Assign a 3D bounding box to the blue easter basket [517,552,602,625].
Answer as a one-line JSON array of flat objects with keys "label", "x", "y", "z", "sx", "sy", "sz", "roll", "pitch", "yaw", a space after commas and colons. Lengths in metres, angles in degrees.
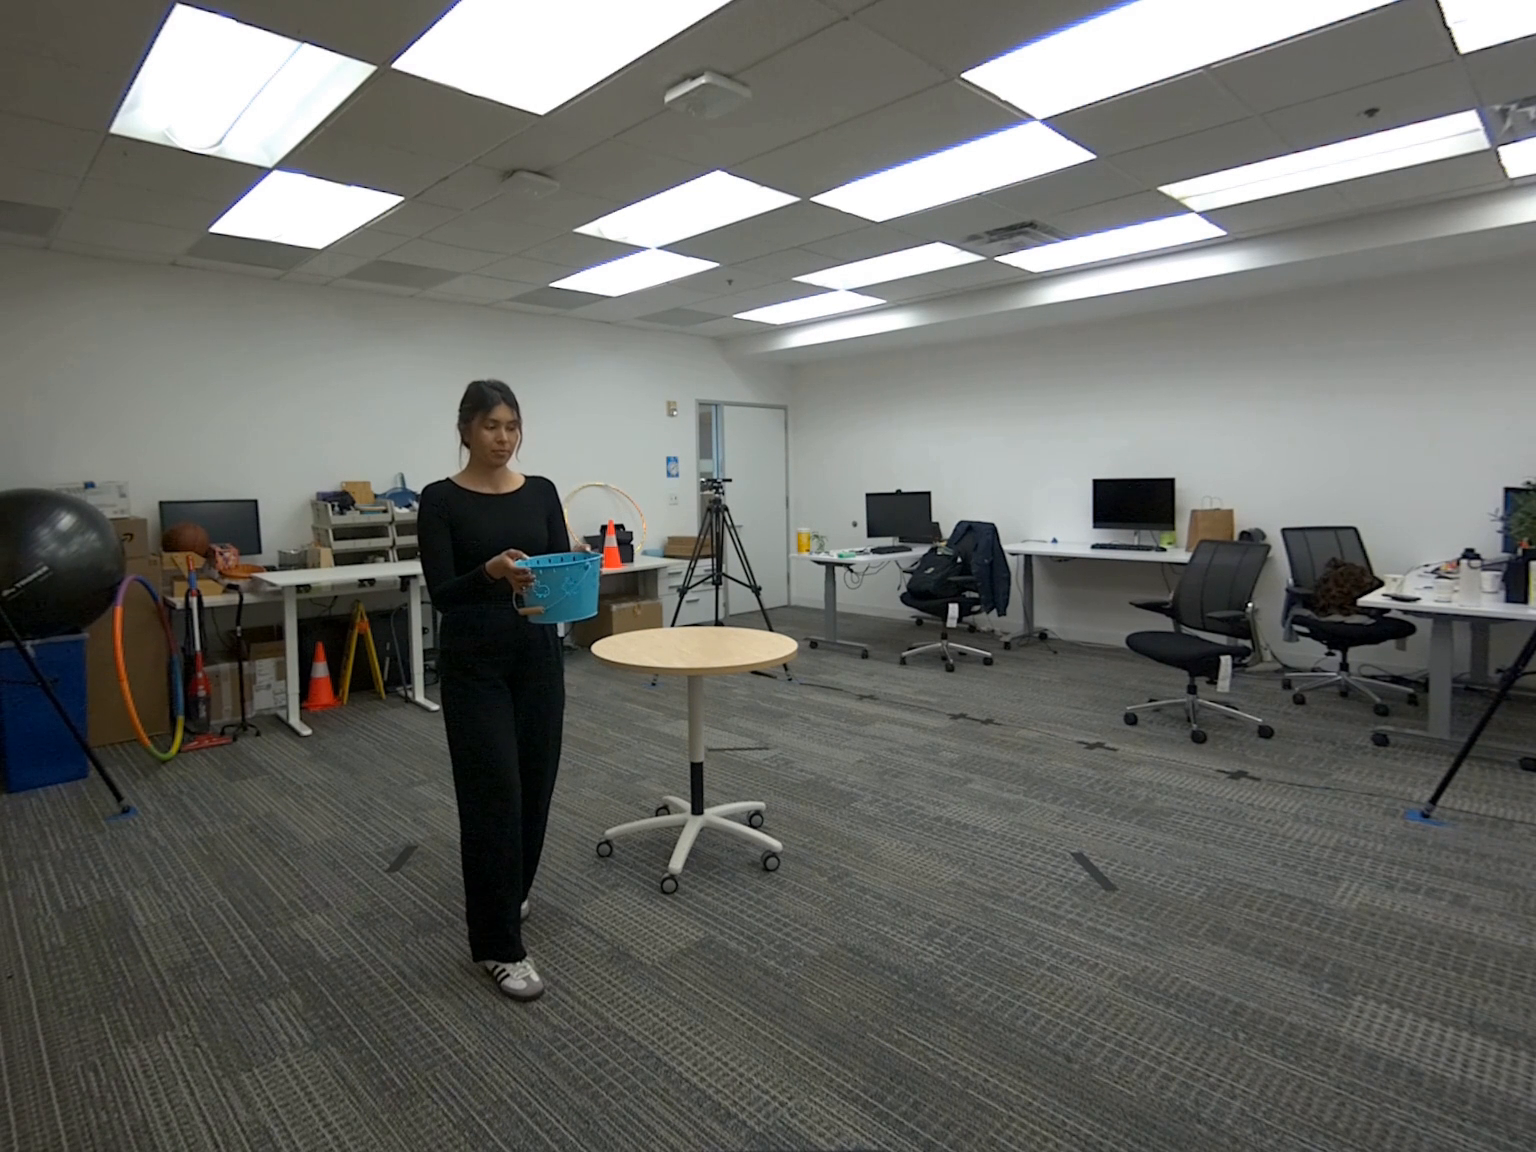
[{"label": "blue easter basket", "x": -0.568, "y": 0.037, "z": 2.241, "sx": 0.243, "sy": 0.155, "sz": 0.245, "roll": -5, "pitch": 8, "yaw": -1}]
